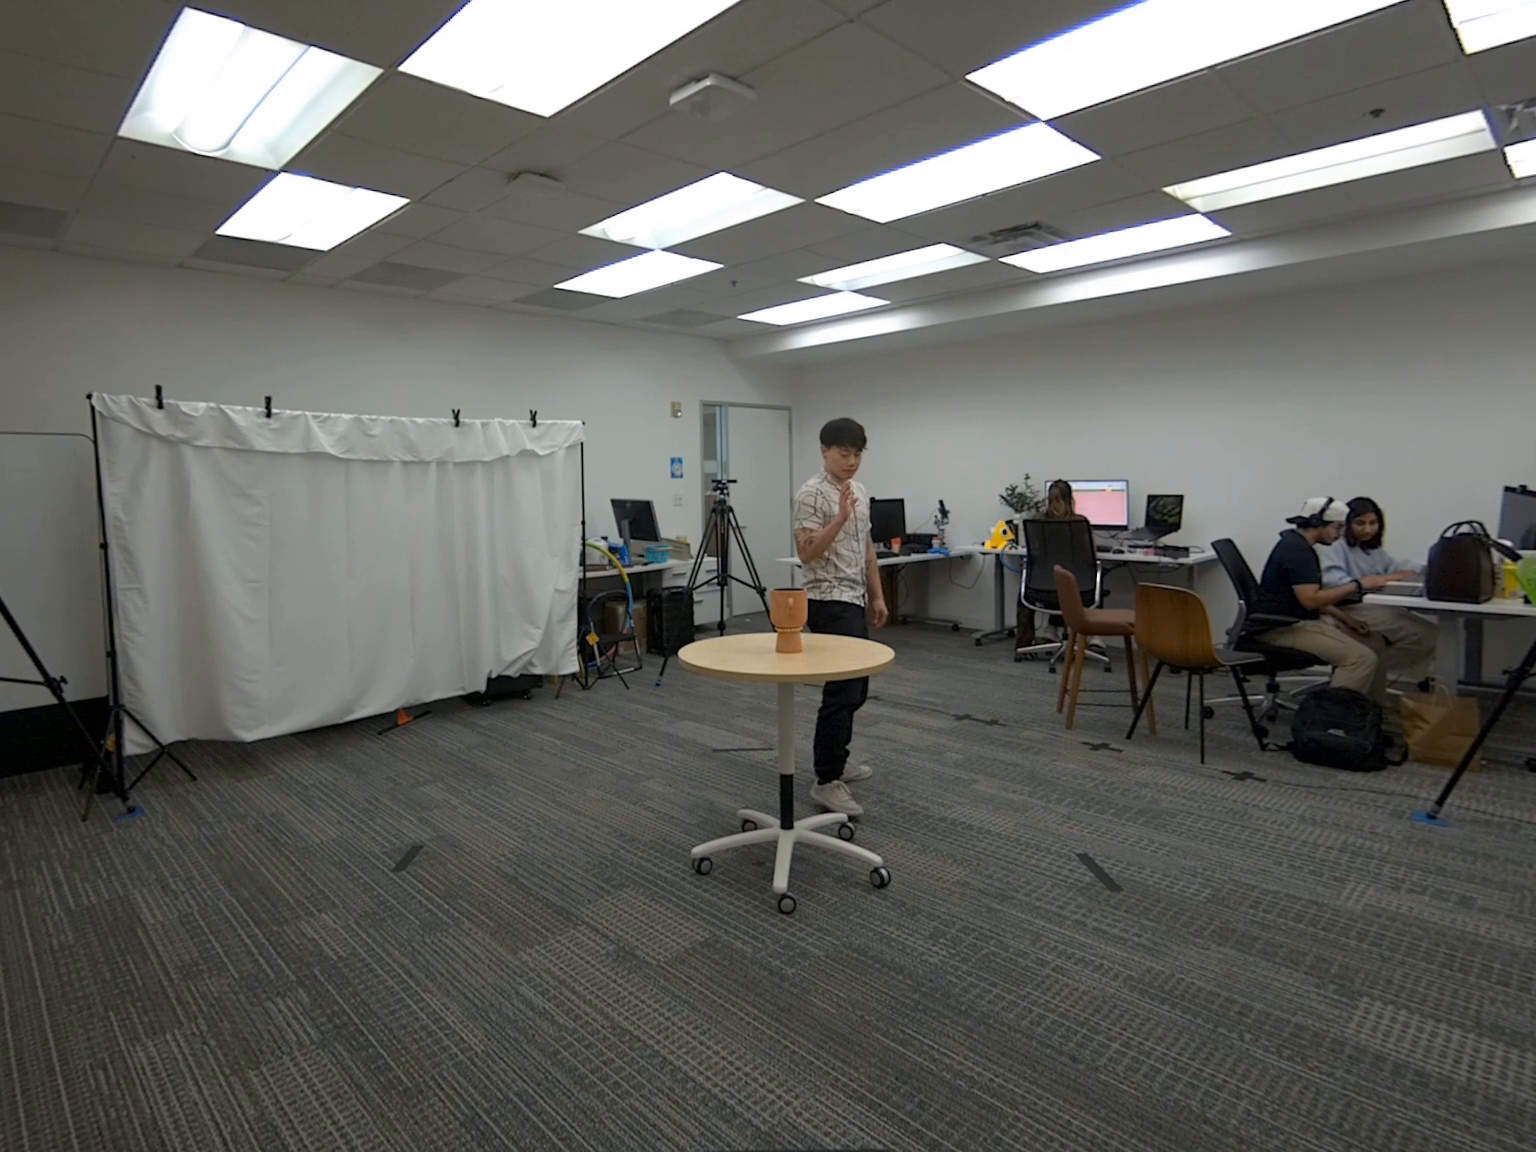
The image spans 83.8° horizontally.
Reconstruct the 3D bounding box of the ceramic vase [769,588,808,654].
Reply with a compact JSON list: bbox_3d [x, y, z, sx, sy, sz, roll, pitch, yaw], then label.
[{"bbox_3d":[0.077,0.160,3.045,0.138,0.219,0.155,1,4,37],"label":"ceramic vase"}]
